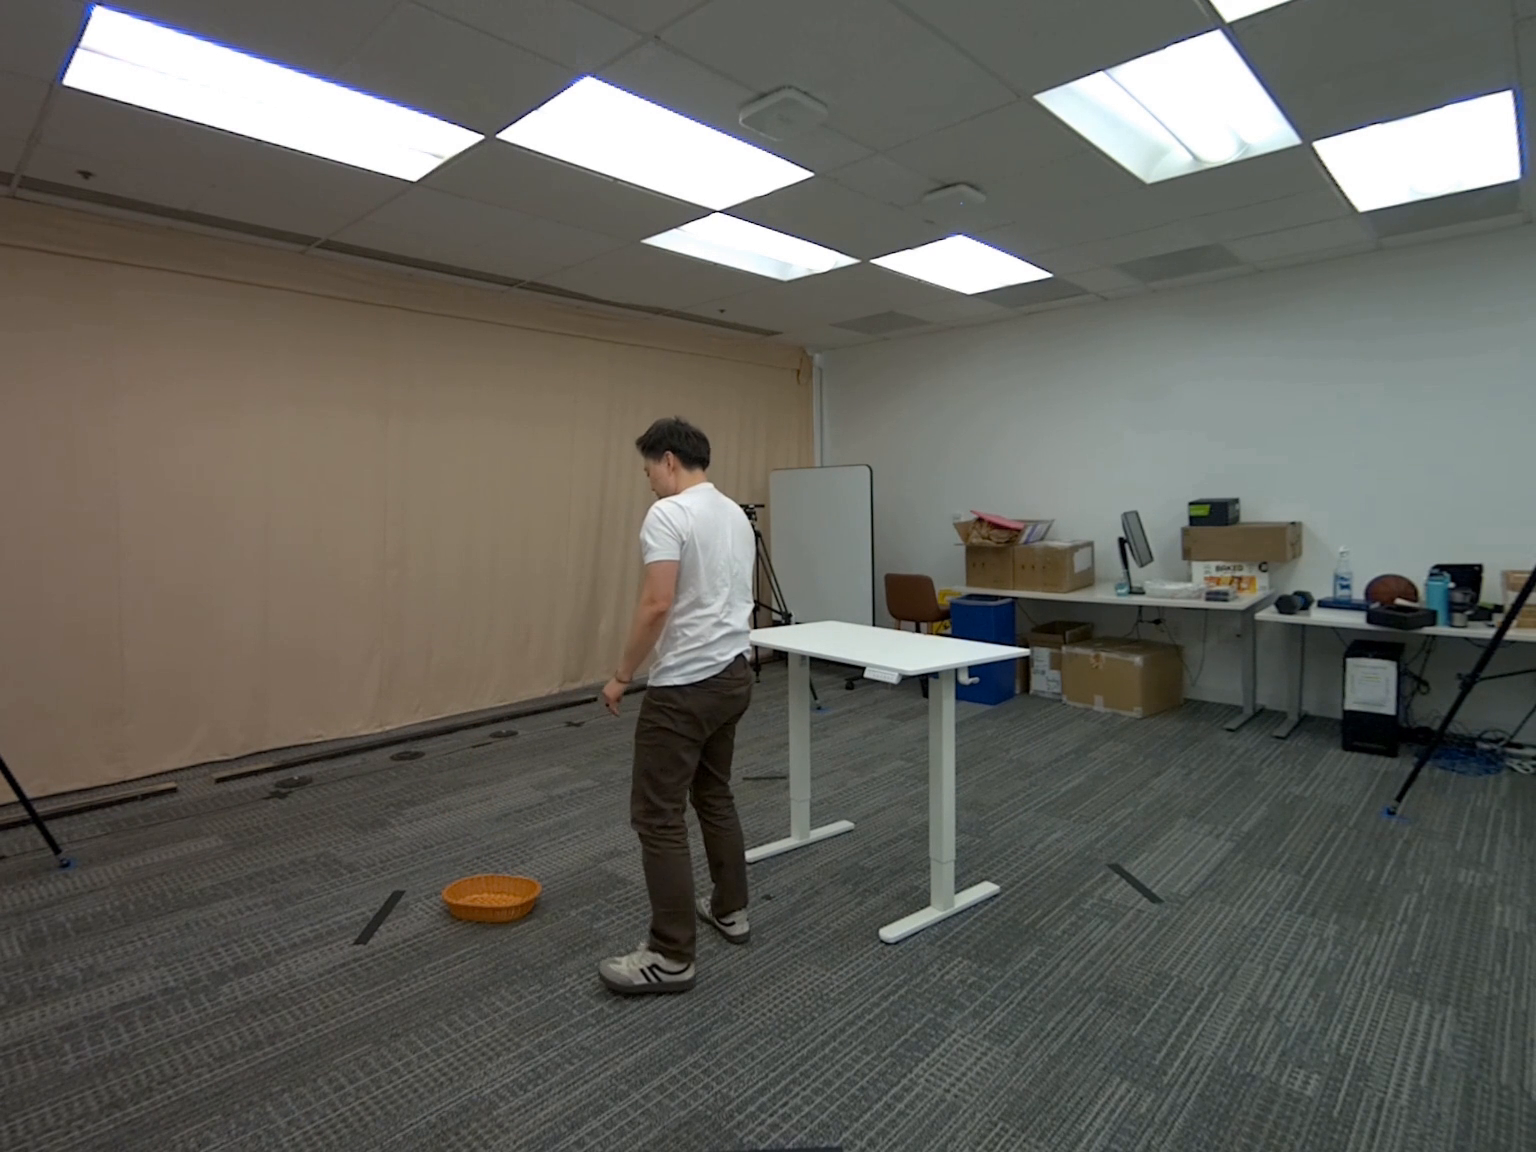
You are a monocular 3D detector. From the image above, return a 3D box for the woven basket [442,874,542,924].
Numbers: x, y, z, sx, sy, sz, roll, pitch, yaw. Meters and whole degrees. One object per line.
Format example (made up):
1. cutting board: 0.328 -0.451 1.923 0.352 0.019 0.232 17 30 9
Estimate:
1. woven basket: -0.963 1.129 2.939 0.356 0.073 0.249 -1 4 13
